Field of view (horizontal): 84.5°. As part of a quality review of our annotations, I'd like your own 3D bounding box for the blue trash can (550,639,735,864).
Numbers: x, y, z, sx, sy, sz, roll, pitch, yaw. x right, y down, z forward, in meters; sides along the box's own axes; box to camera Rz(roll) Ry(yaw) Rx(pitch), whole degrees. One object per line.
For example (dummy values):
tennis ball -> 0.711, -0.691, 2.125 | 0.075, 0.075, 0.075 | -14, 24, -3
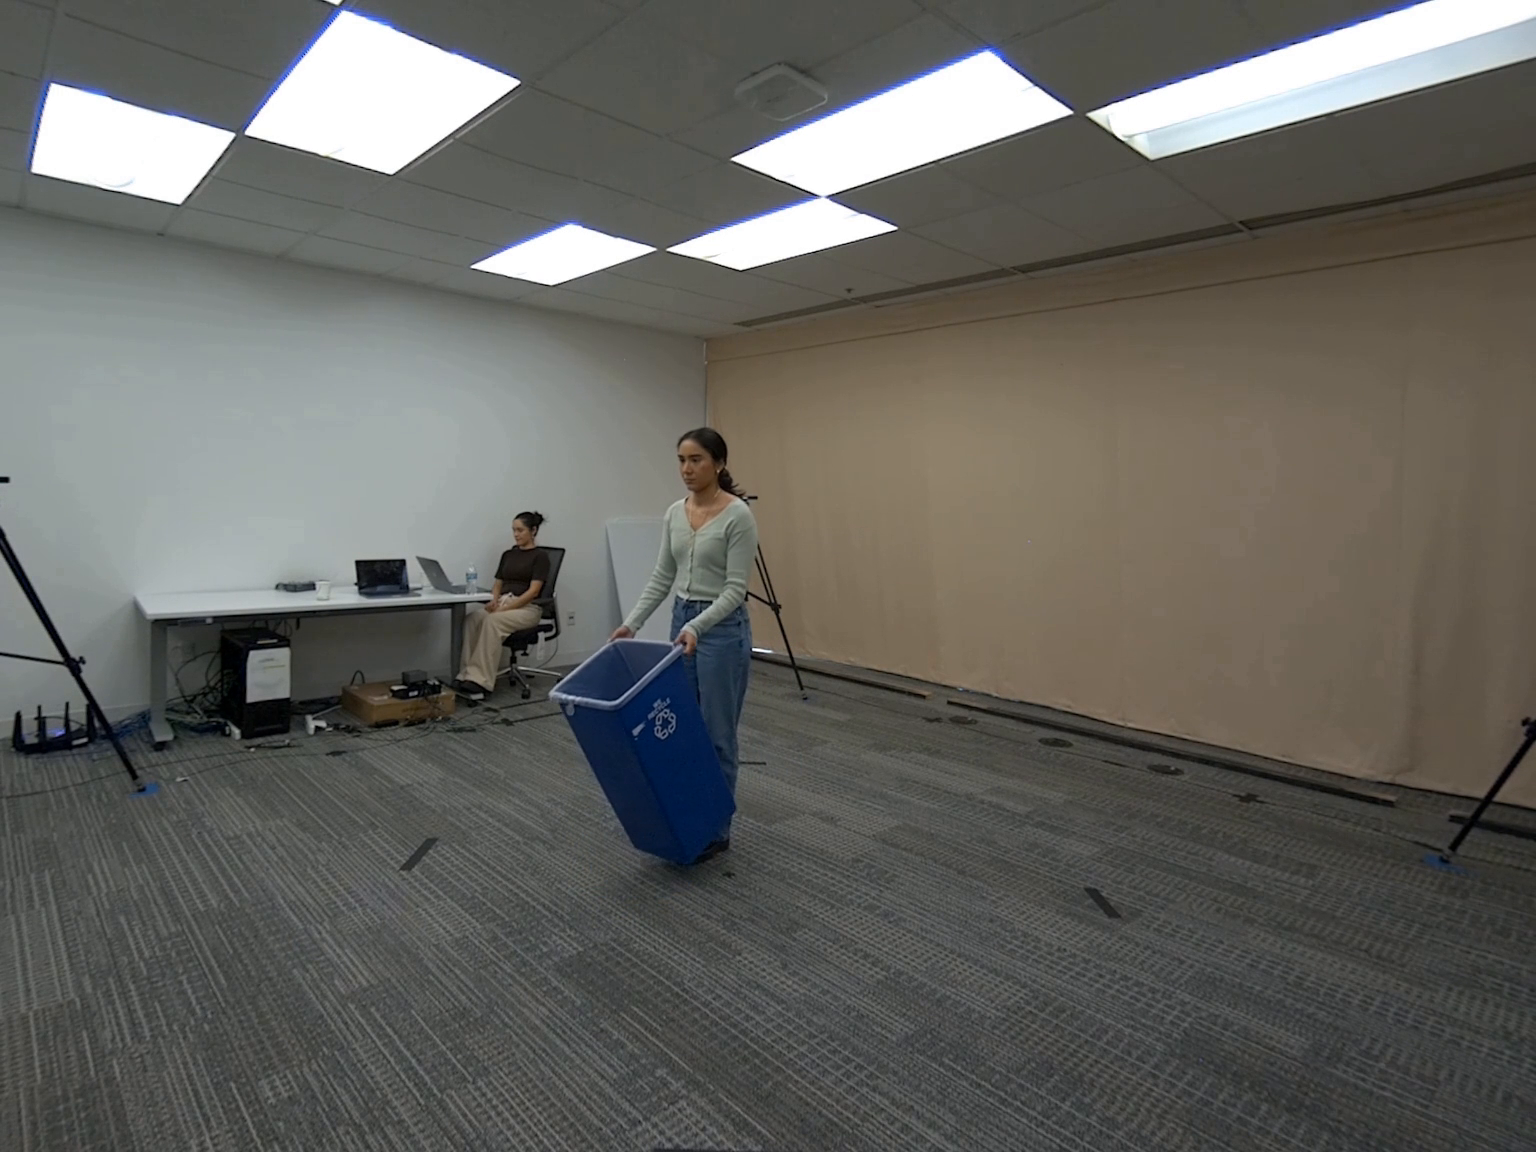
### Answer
blue trash can -> -0.429, 0.627, 3.027 | 0.387, 0.700, 0.372 | -2, 27, 39
